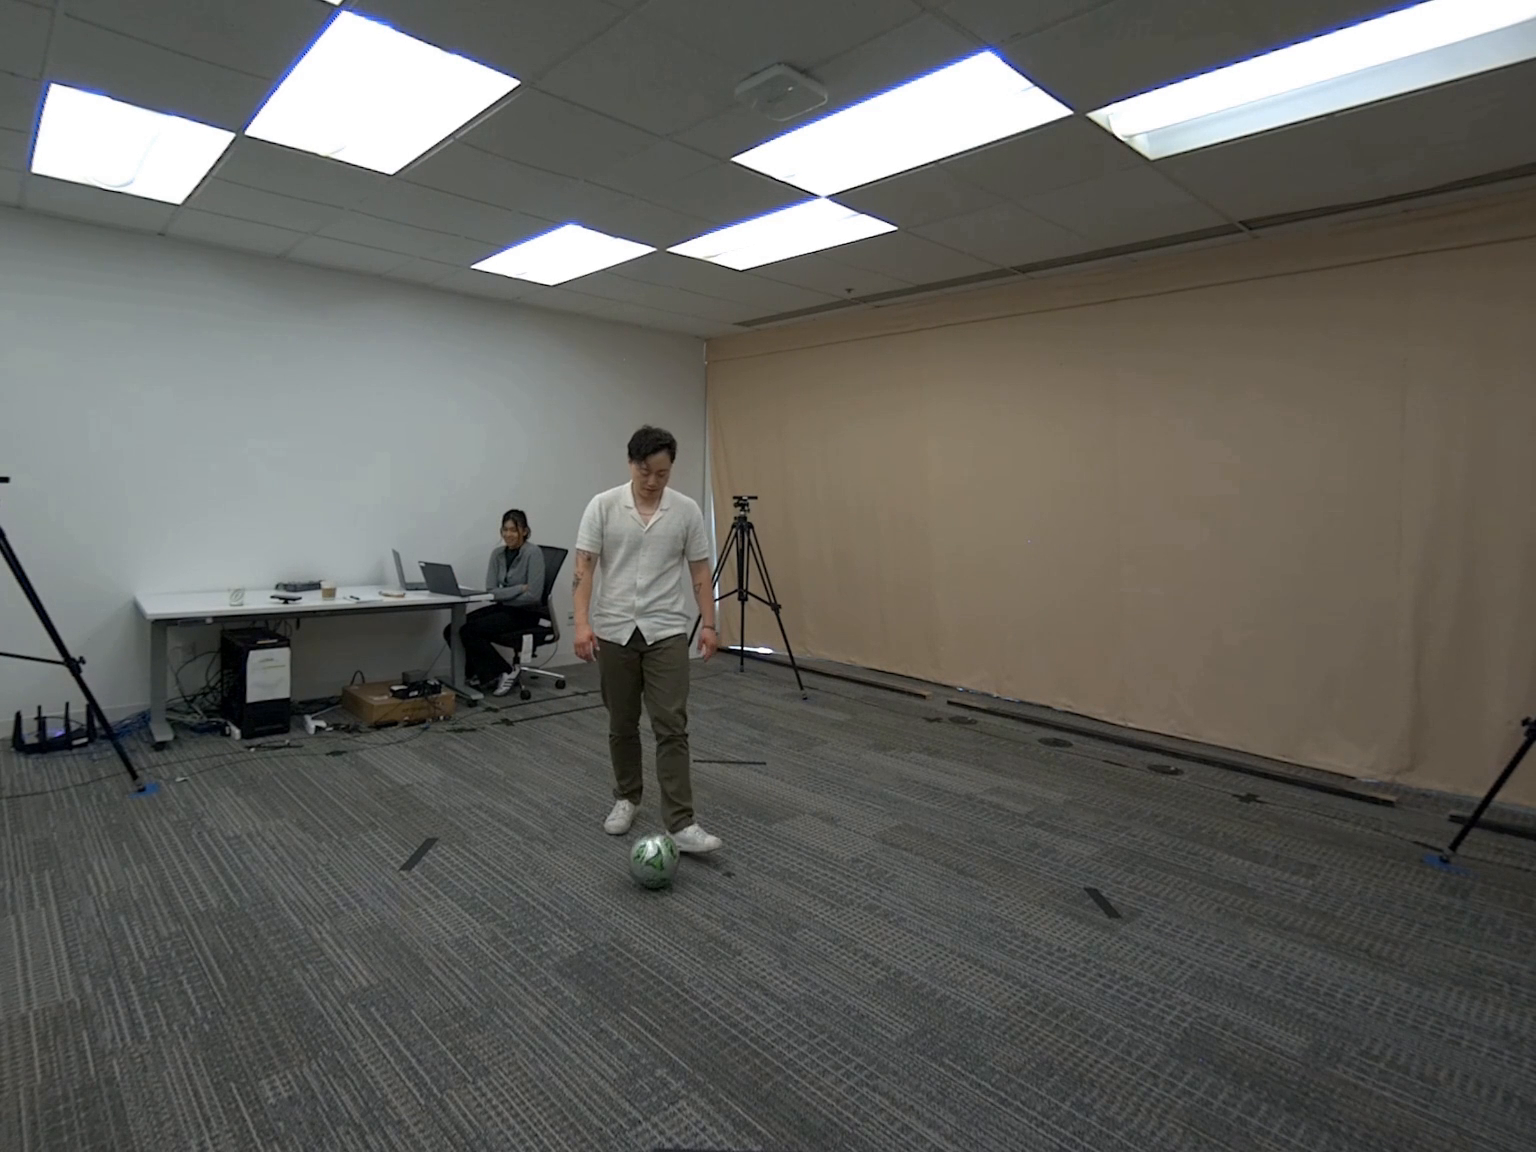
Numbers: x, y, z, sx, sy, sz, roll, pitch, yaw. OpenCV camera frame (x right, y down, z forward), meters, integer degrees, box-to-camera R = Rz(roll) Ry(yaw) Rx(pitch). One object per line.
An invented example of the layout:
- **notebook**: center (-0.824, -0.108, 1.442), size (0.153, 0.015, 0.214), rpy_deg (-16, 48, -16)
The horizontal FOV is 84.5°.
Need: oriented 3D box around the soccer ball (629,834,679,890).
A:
- **soccer ball**: center (-0.421, 1.012, 2.998), size (0.187, 0.187, 0.188), rpy_deg (1, 4, -1)
